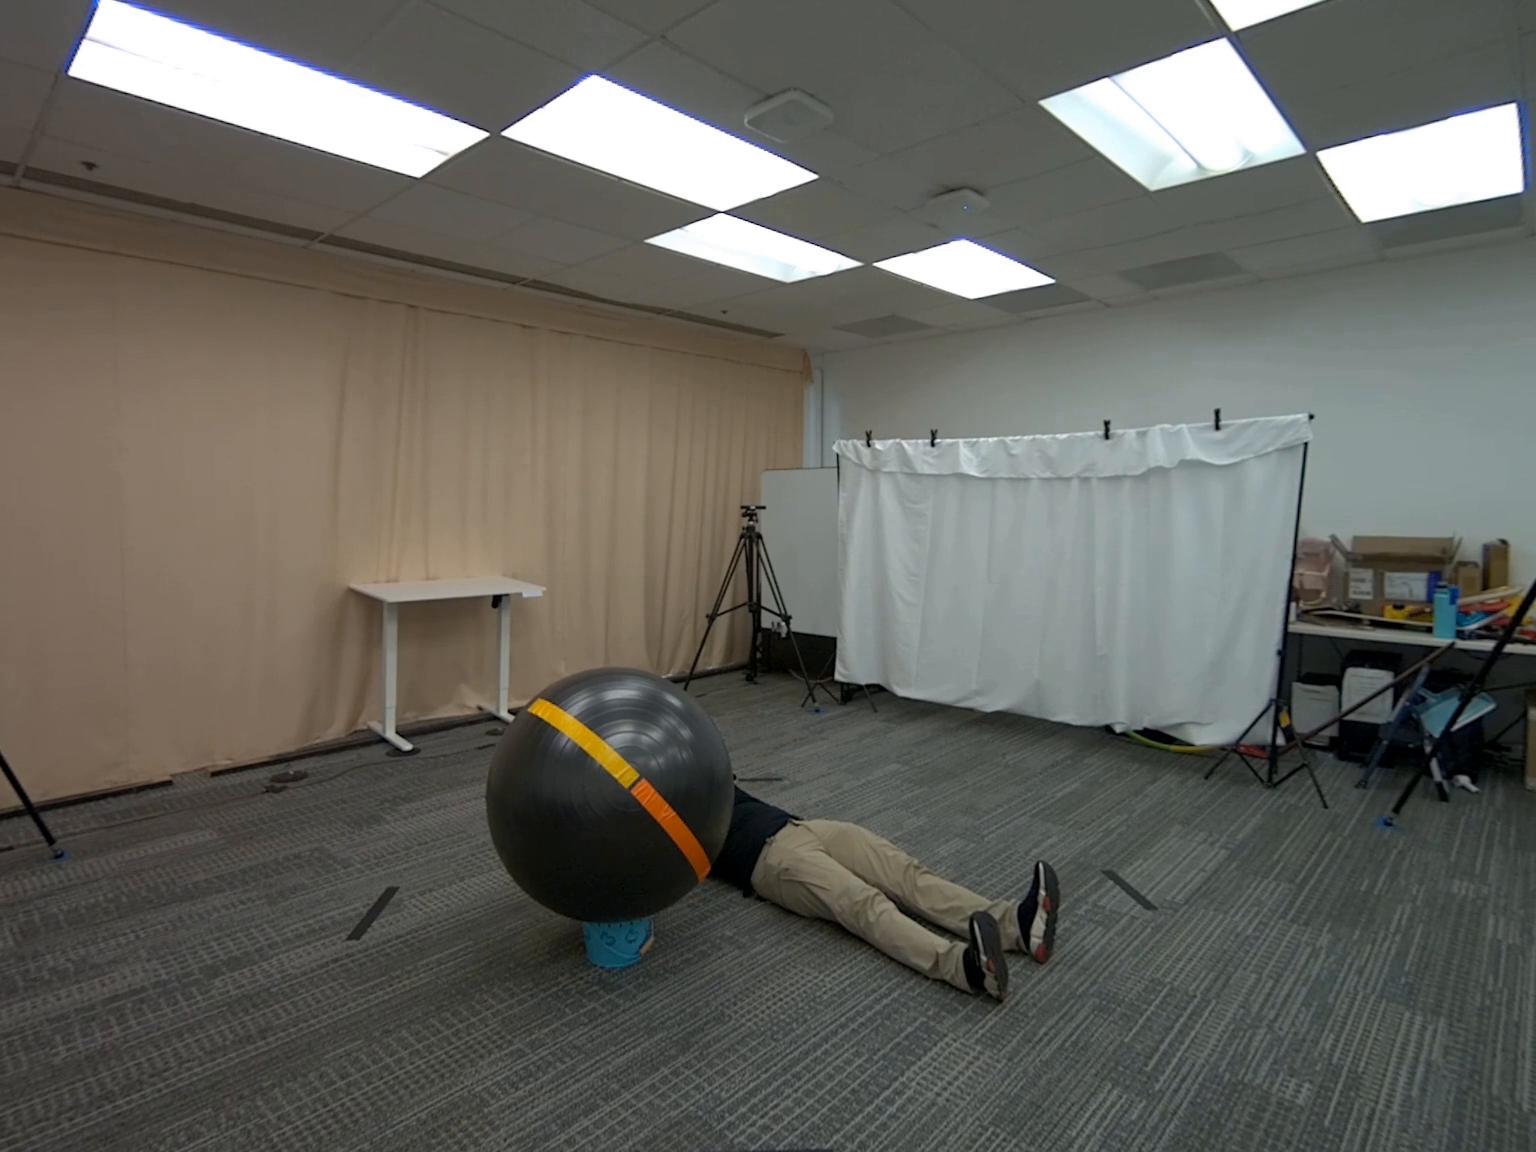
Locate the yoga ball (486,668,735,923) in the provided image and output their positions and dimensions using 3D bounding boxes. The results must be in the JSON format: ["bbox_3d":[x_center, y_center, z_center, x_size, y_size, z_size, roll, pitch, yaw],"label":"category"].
[{"bbox_3d":[-0.483,0.669,2.613,0.757,0.756,0.761,0,4,-2],"label":"yoga ball"}]
